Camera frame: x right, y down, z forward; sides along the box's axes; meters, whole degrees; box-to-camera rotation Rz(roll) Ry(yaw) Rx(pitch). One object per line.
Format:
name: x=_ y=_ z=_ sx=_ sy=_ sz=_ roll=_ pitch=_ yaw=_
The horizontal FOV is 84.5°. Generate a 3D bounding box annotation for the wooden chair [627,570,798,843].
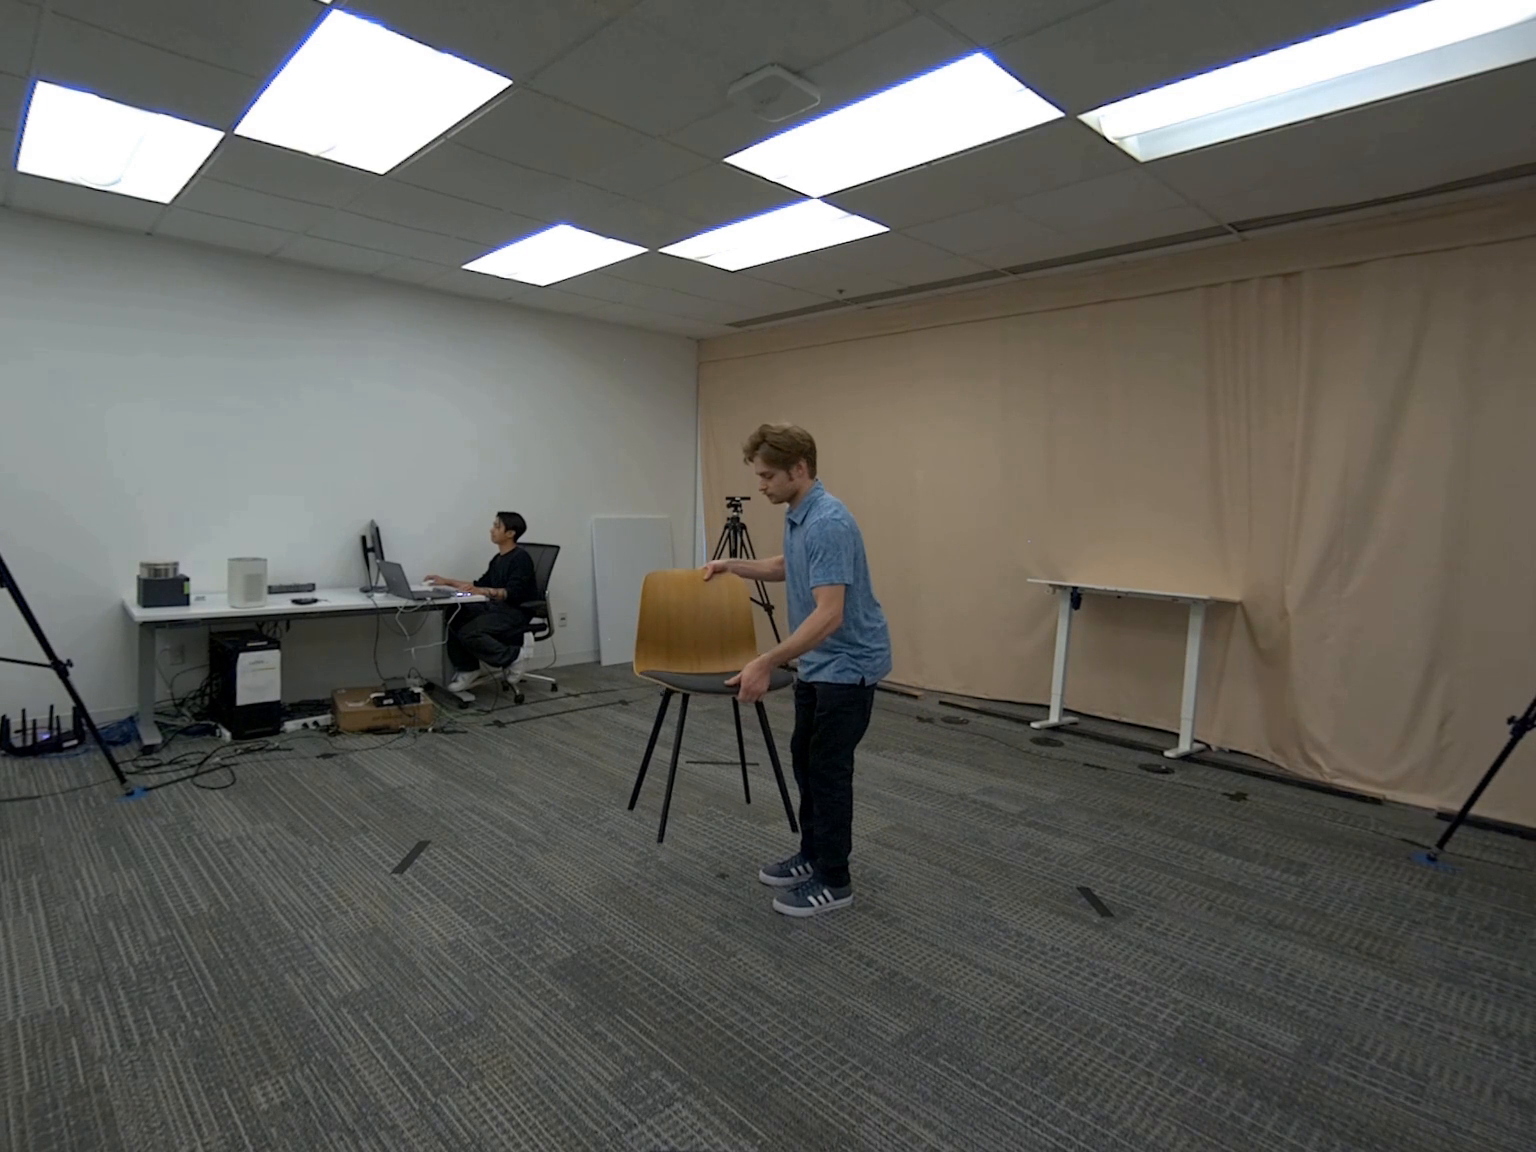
wooden chair: x=-0.192 y=0.386 z=2.790 sx=0.471 sy=0.883 sz=0.528 roll=2 pitch=-9 yaw=-20
